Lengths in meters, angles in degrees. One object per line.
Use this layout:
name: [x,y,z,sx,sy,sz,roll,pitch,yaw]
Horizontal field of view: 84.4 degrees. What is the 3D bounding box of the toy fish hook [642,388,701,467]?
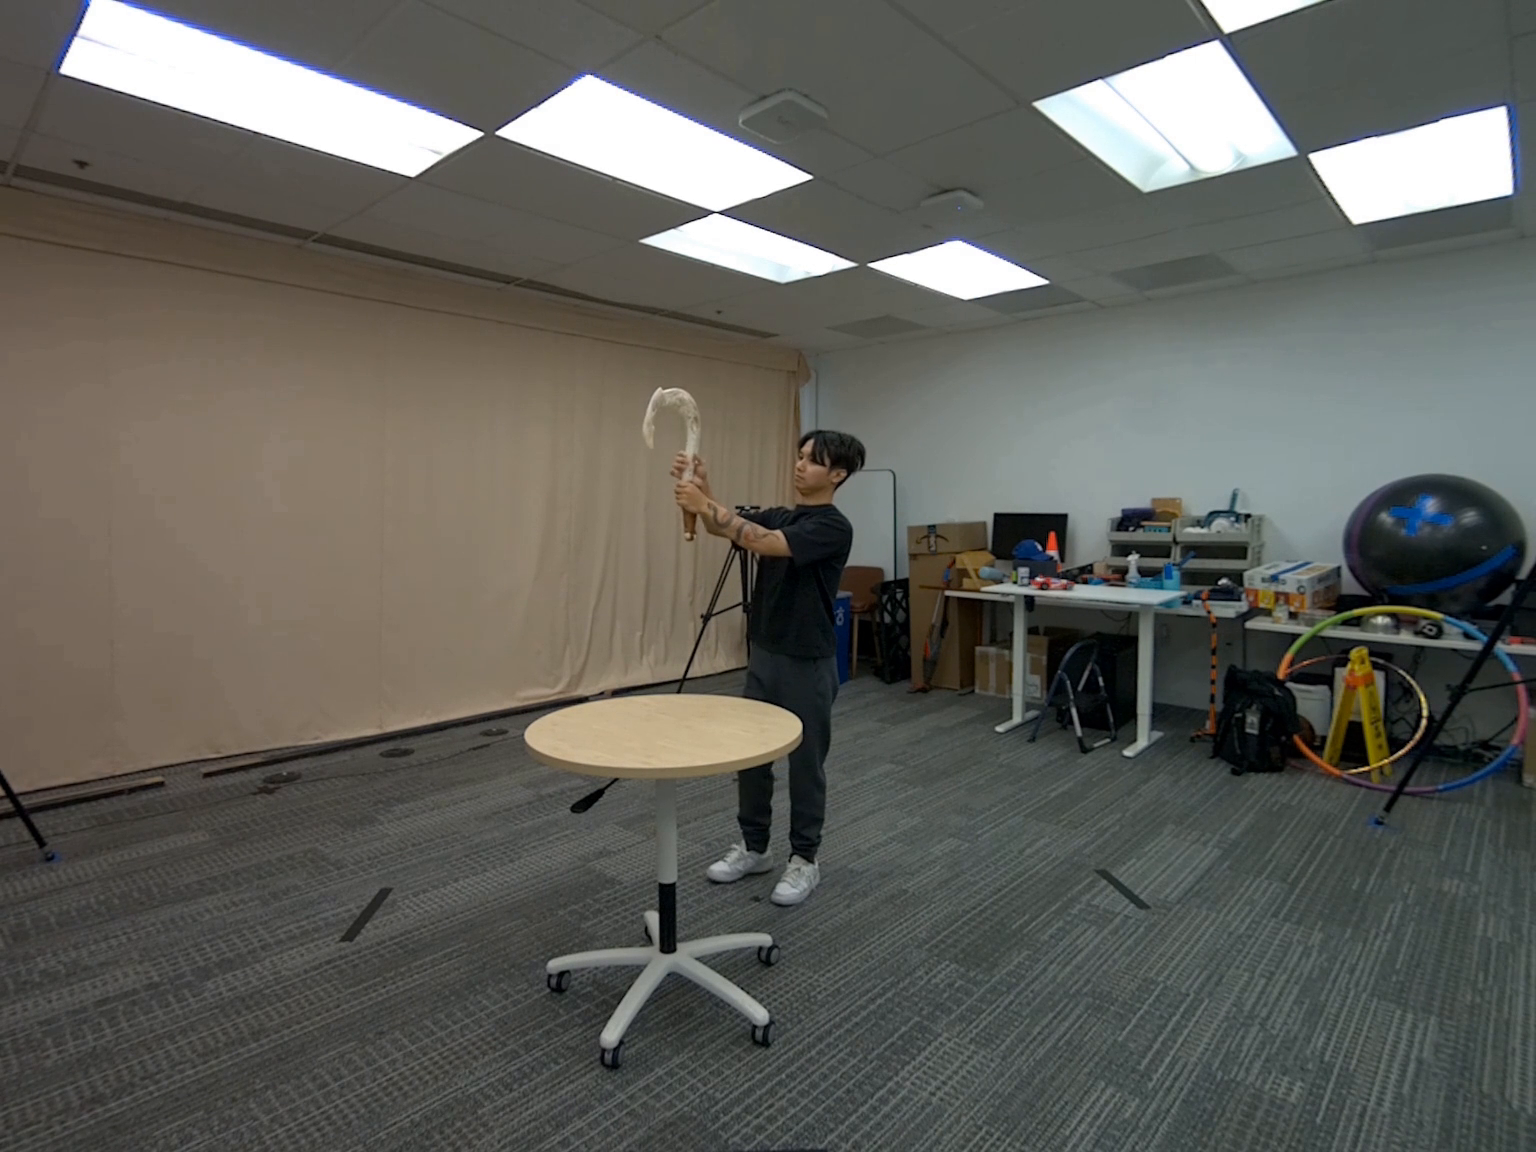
toy fish hook: [-0.311,-0.365,2.792,0.218,0.505,0.050,-6,5,-32]
